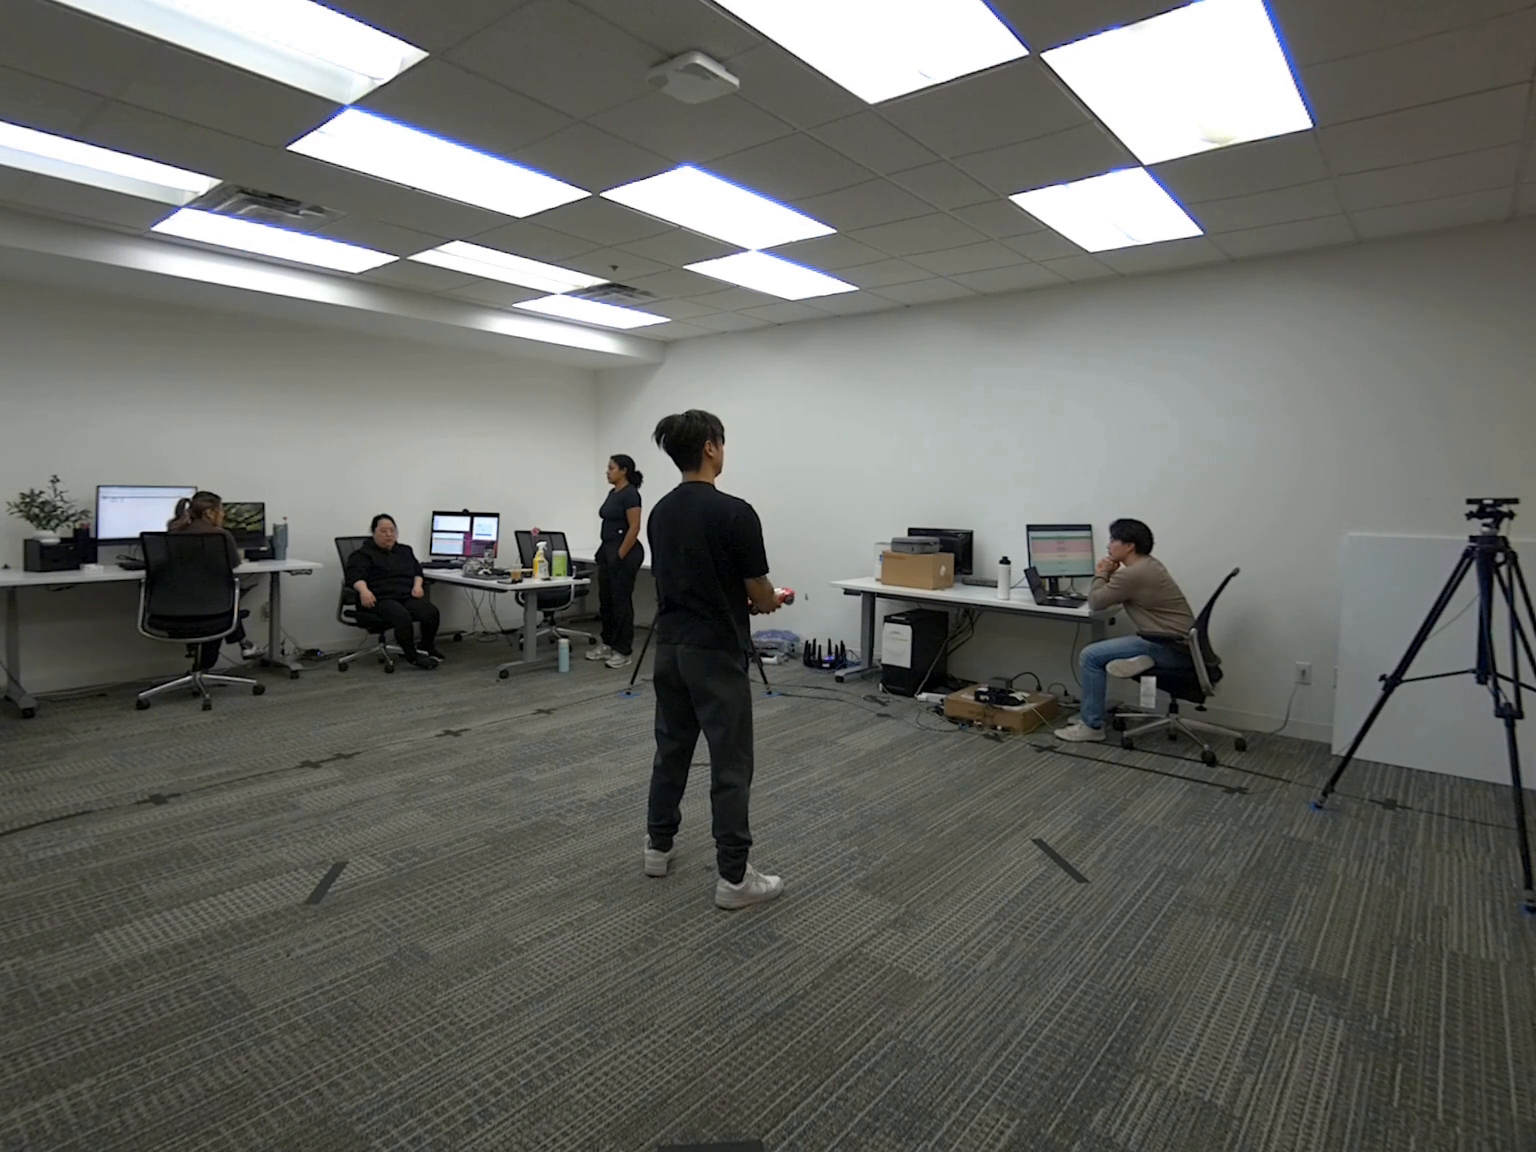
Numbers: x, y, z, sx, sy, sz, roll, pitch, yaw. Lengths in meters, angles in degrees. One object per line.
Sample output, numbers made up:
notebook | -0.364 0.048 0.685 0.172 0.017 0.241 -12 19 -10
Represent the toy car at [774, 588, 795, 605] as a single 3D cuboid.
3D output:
toy car | -0.042 0.095 3.258 0.250 0.082 0.134 -3 10 -20
